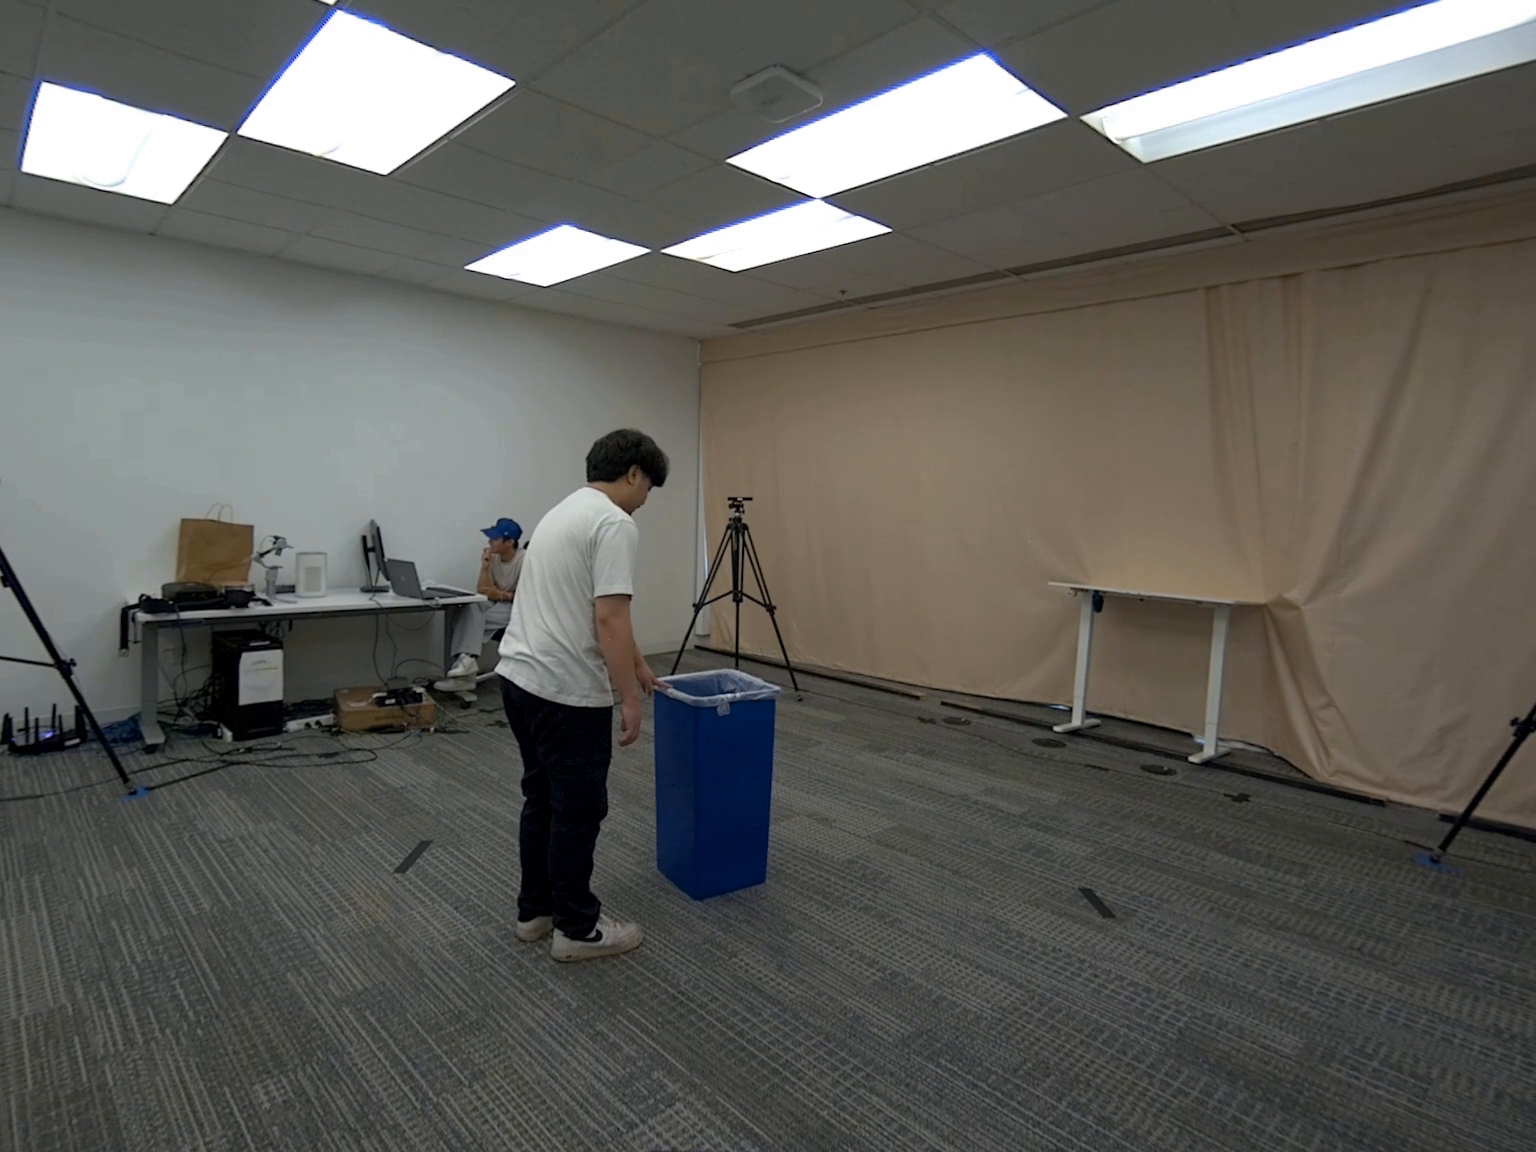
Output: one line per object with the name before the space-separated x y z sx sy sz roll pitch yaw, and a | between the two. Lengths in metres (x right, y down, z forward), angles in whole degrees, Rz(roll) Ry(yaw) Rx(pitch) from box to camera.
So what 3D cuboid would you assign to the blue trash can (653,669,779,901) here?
blue trash can | -0.216 0.747 3.097 0.370 0.712 0.383 -1 4 -34
